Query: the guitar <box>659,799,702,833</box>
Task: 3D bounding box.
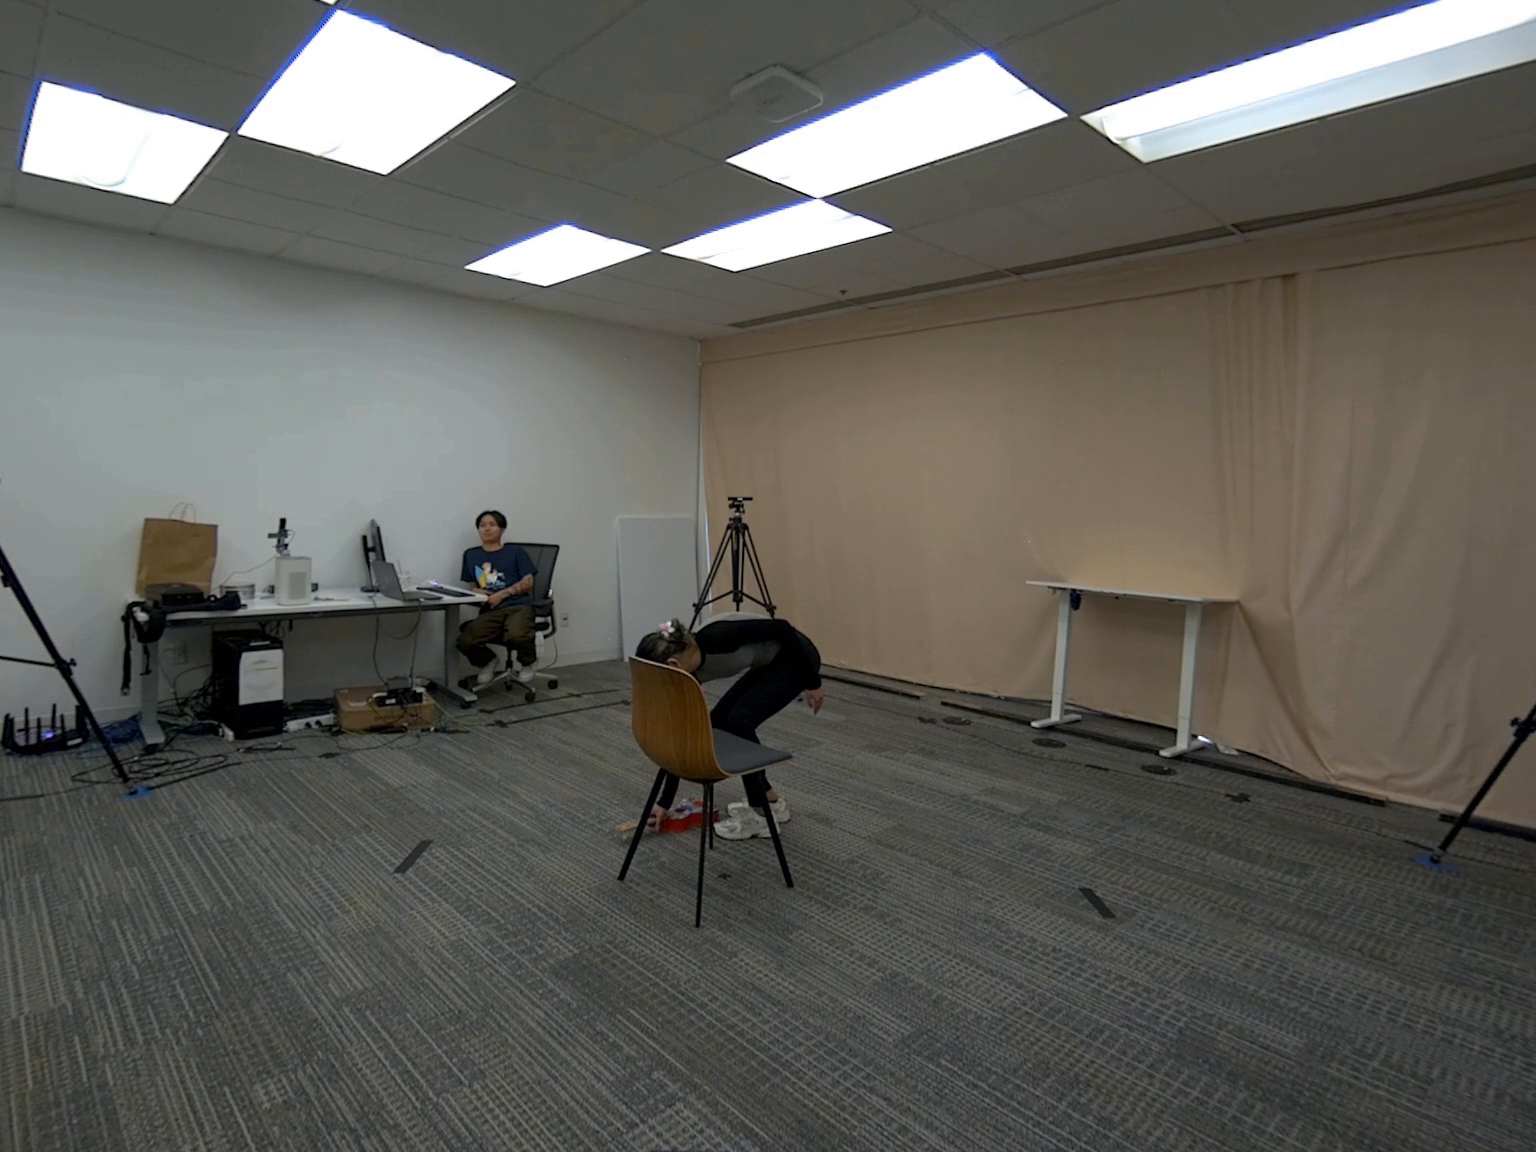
[{"bbox_3d":[-0.448,1.025,3.562,0.487,0.070,0.198,-2,5,-36],"label":"guitar"}]
